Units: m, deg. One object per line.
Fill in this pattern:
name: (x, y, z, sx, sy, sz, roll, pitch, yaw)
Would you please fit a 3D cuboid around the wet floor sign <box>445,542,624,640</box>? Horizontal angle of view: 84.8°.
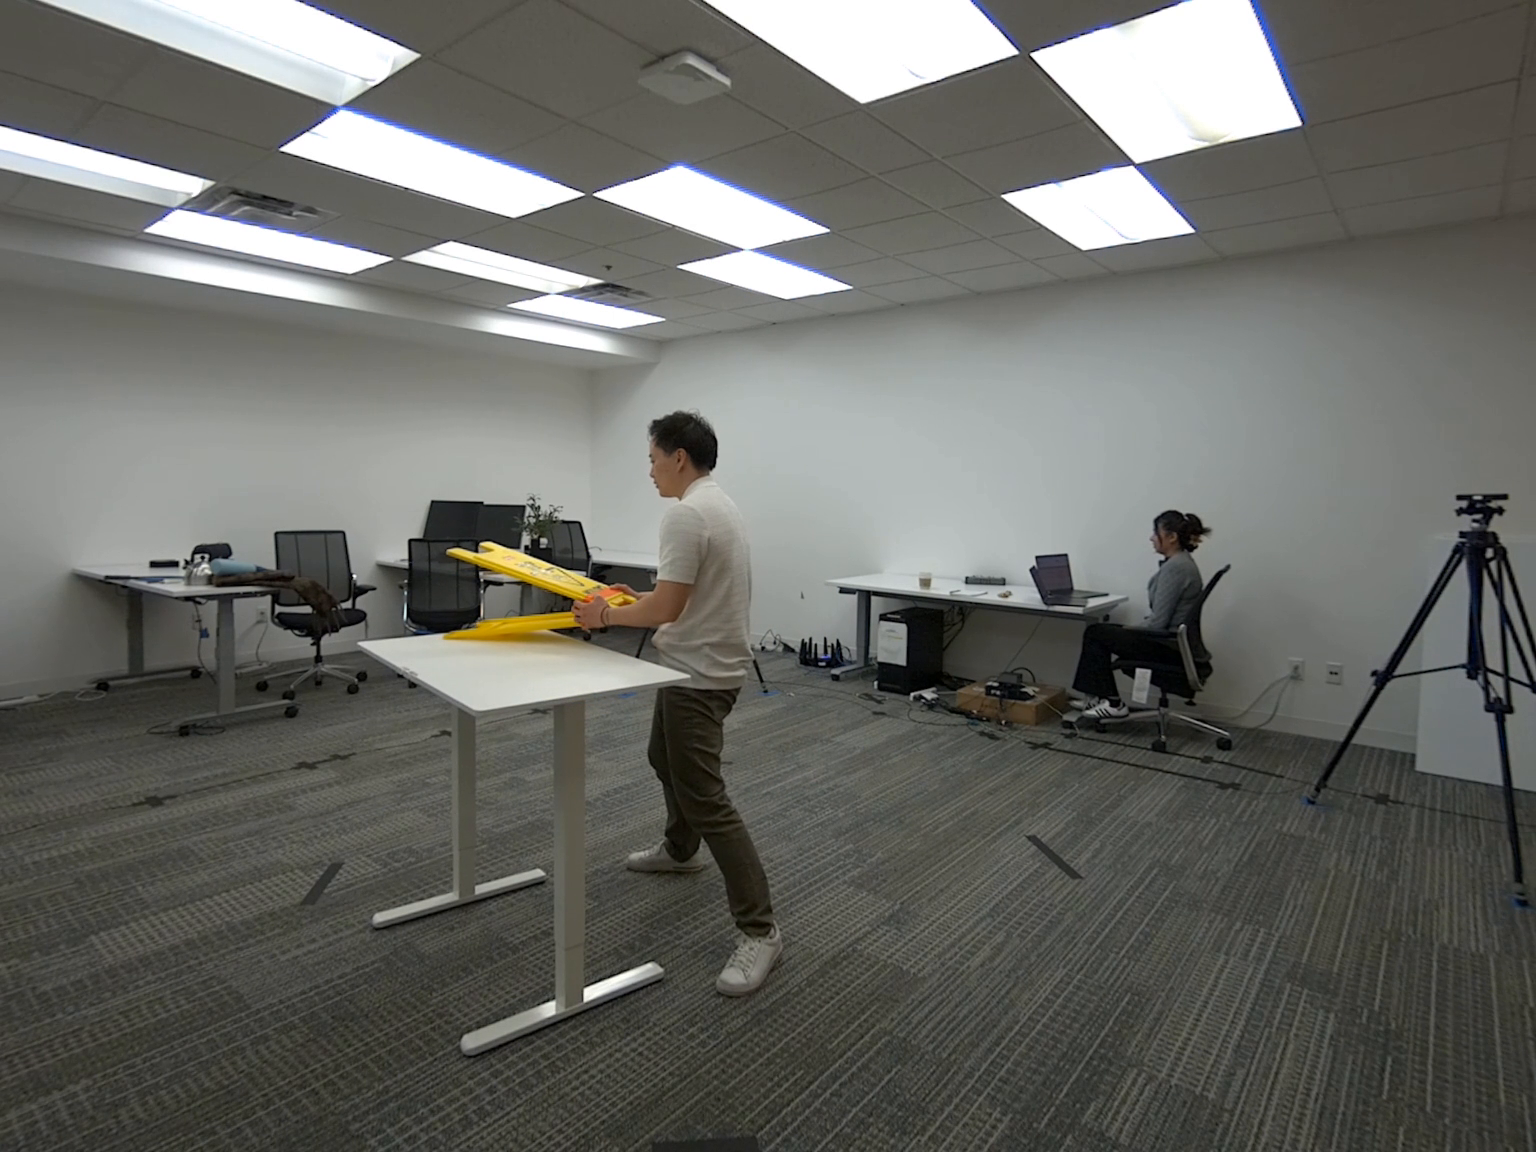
wet floor sign: (-0.731, 0.074, 2.821, 0.656, 0.288, 0.280, 6, 7, 12)
